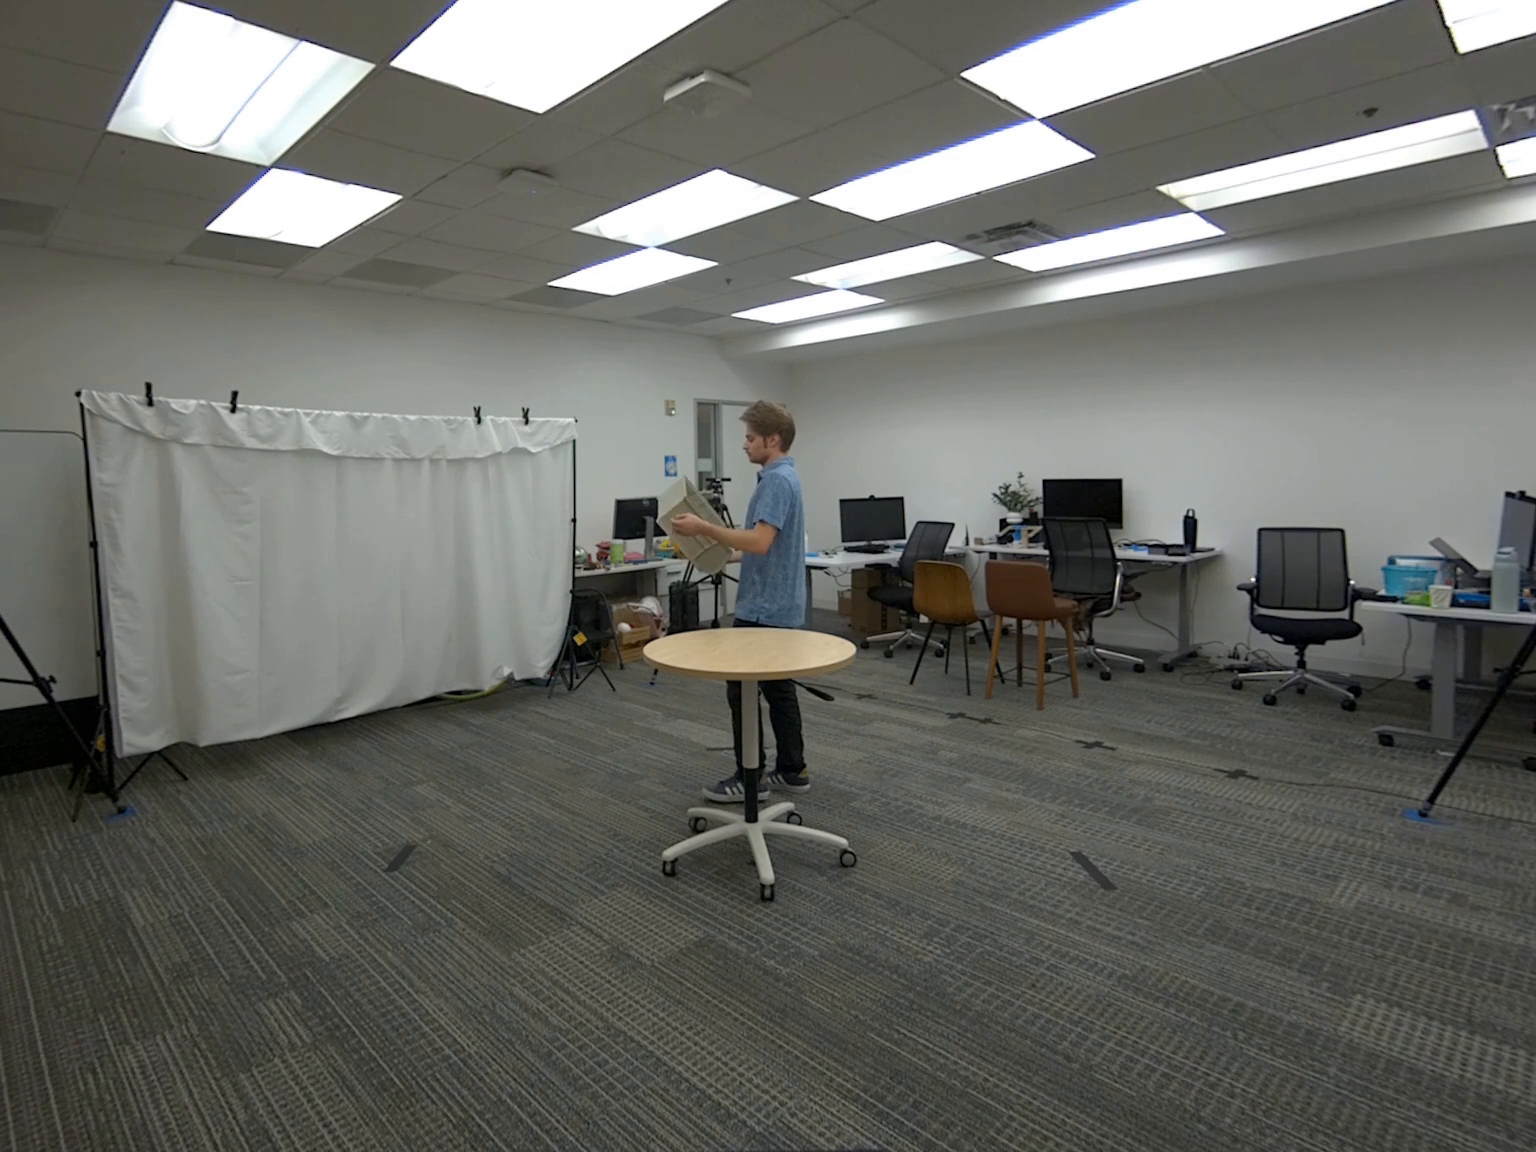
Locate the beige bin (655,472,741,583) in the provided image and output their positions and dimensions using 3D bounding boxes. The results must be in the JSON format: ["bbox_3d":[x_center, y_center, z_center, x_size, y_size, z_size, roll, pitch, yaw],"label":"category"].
[{"bbox_3d":[-0.335,-0.241,4.030,0.189,0.369,0.431,-38,18,8],"label":"beige bin"}]
